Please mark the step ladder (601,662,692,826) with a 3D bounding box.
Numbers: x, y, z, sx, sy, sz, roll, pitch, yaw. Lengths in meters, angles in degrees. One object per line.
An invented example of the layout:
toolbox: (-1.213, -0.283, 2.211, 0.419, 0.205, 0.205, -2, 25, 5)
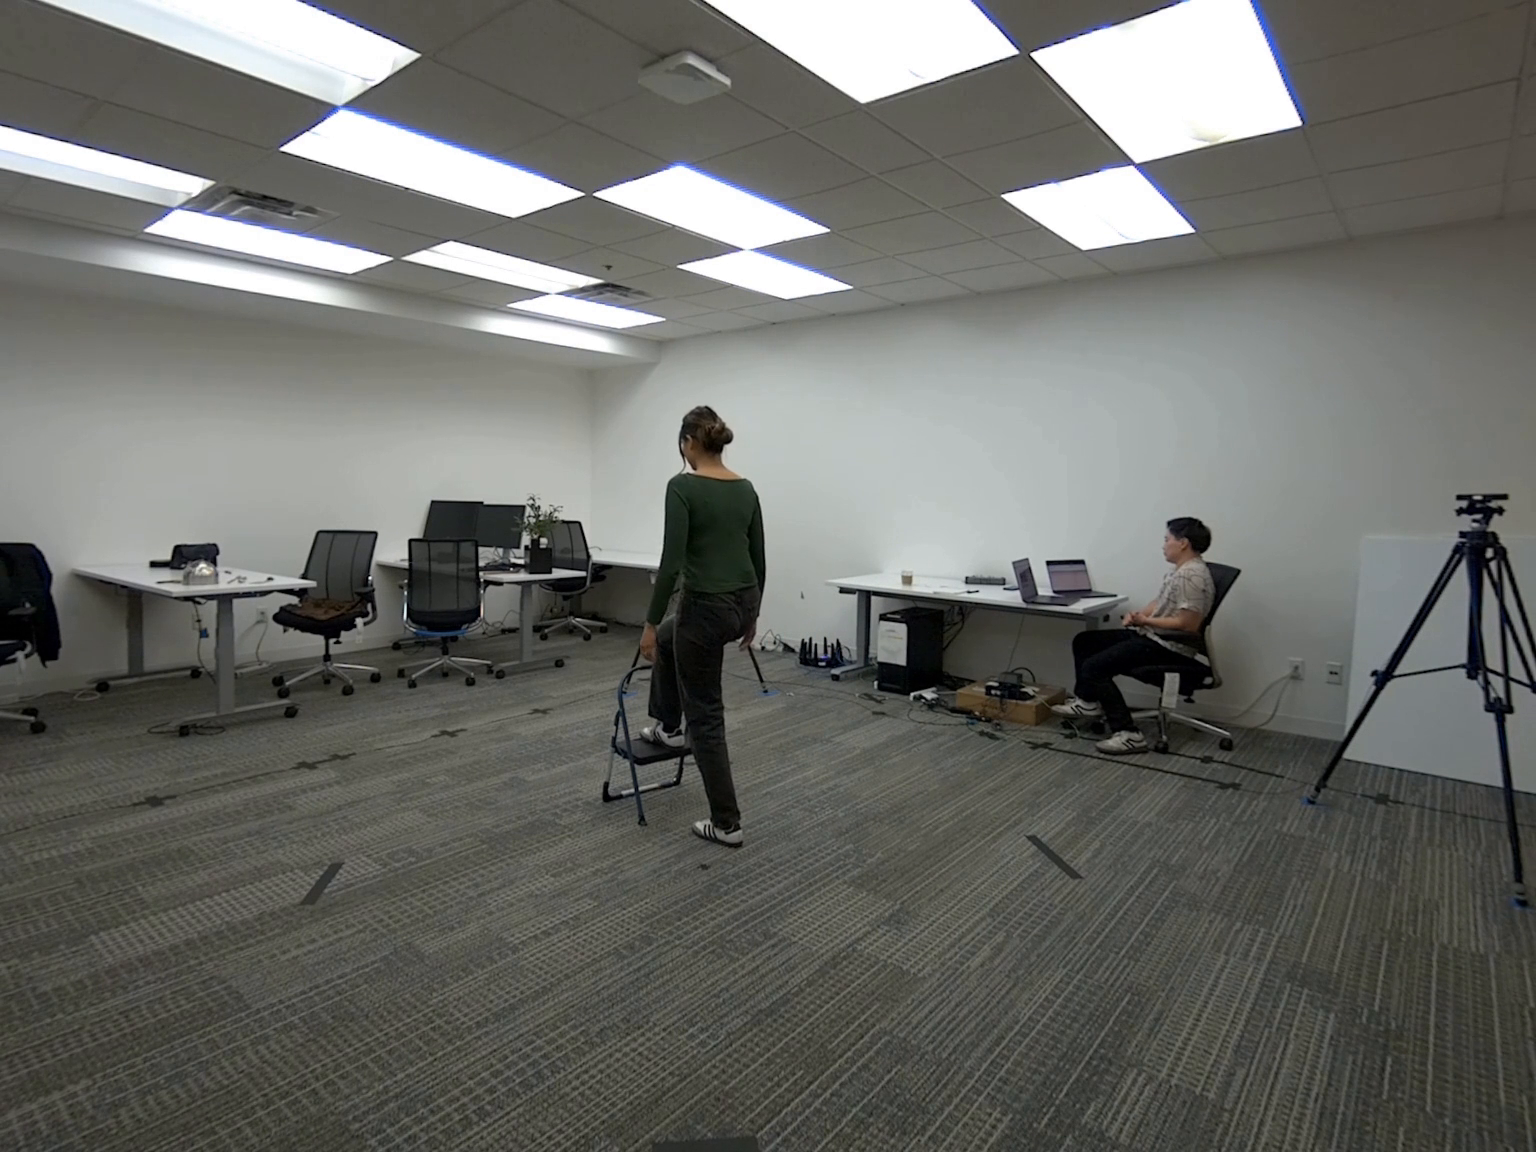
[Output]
step ladder: (-0.477, 0.697, 3.739, 0.417, 0.604, 0.361, -2, 4, -40)
